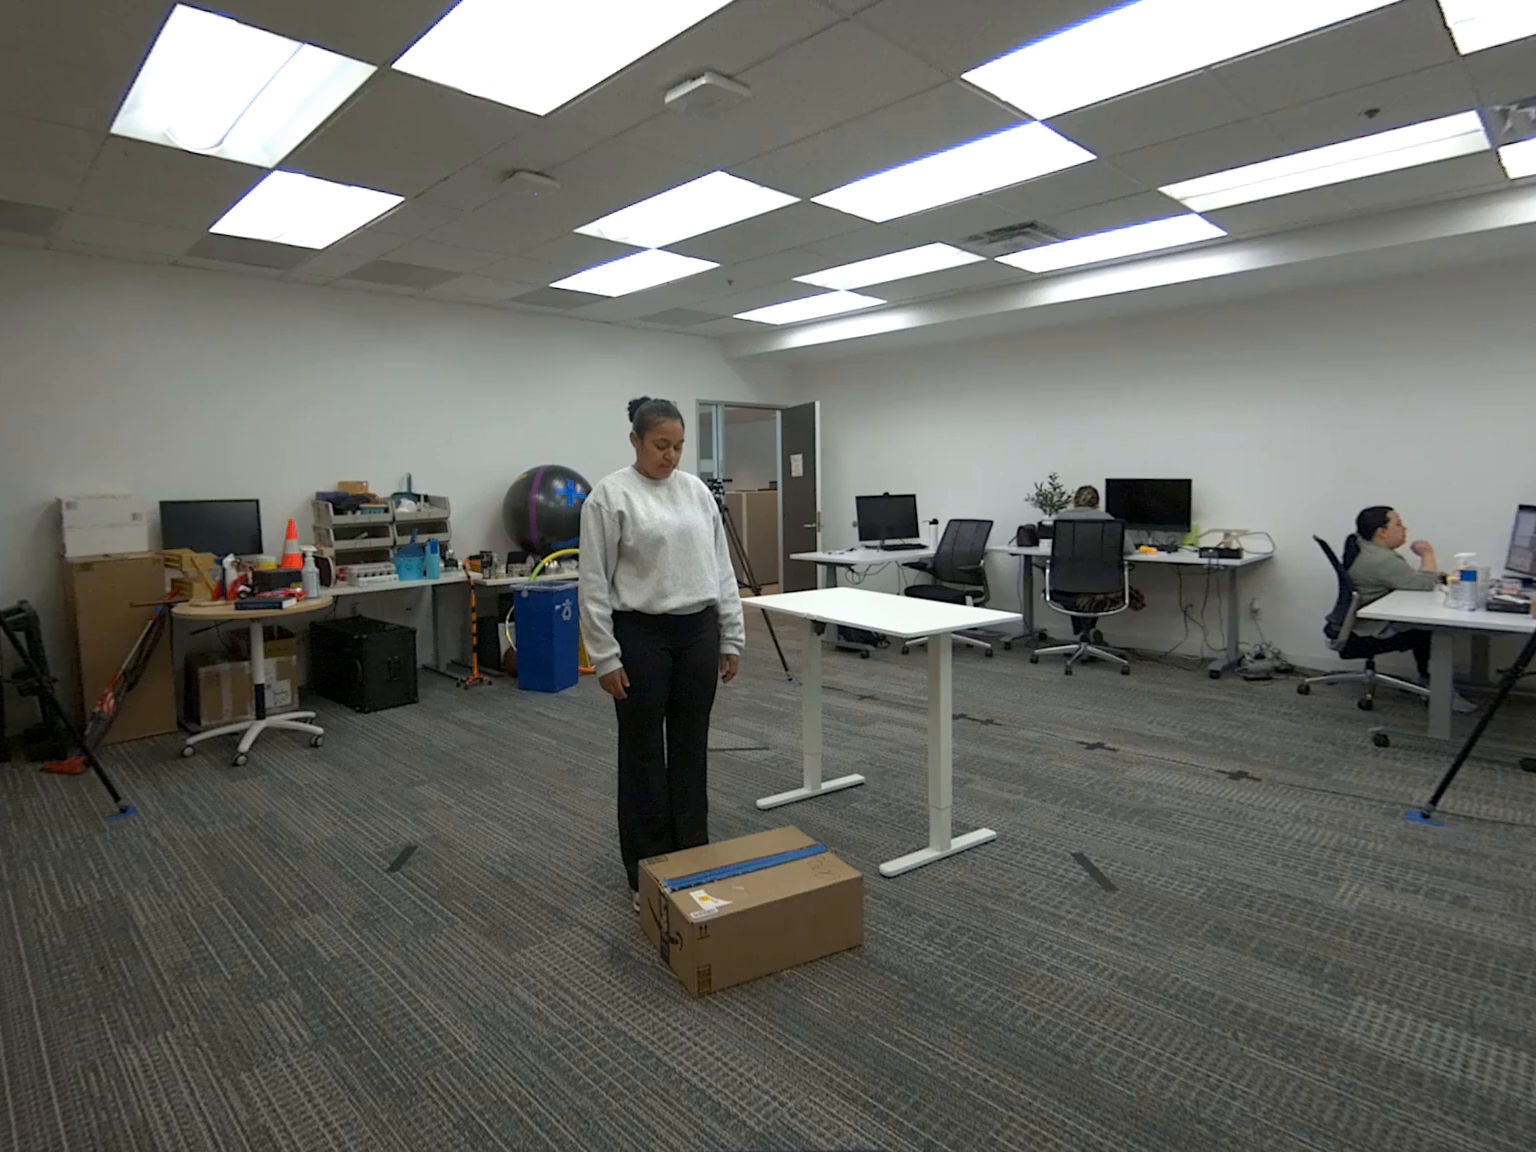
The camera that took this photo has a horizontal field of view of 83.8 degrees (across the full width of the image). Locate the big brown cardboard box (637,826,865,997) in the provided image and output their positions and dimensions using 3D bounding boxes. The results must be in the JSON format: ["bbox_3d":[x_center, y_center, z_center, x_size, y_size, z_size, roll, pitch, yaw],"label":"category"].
[{"bbox_3d":[-0.058,0.993,2.602,0.576,0.232,0.429,-4,7,-28],"label":"big brown cardboard box"}]
